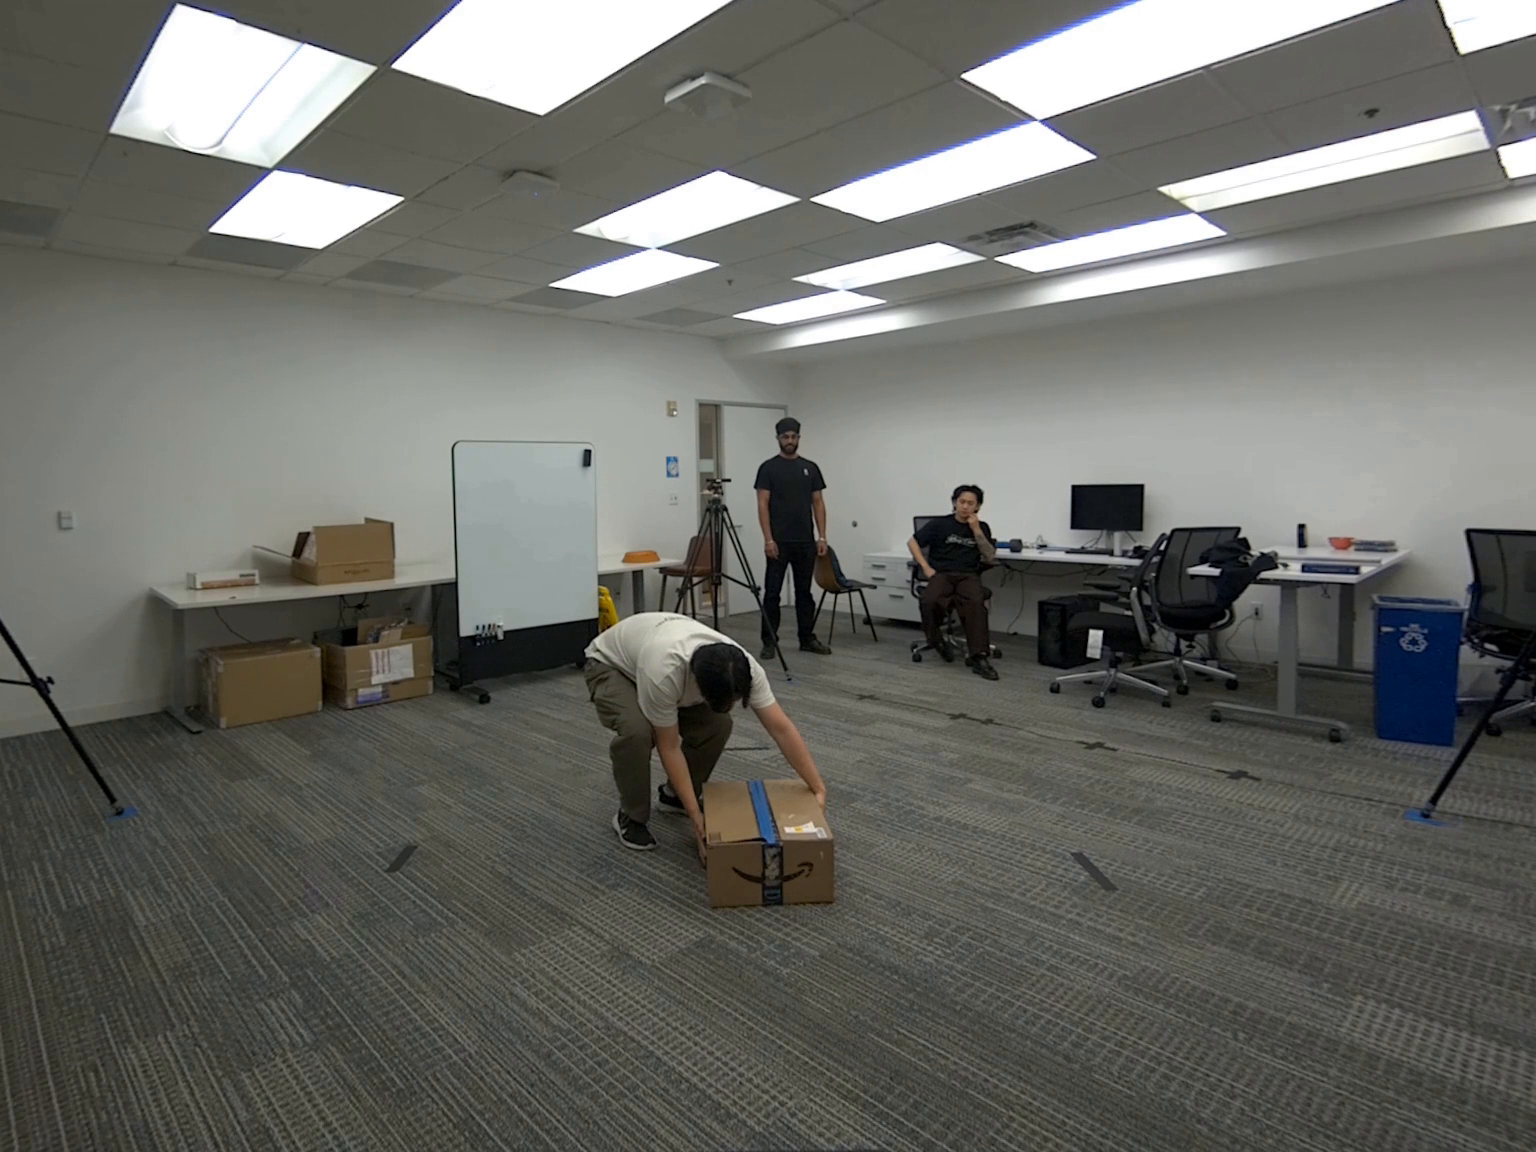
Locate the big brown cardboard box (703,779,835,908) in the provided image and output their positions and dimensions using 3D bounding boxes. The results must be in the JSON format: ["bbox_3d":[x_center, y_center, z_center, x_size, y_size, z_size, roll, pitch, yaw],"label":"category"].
[{"bbox_3d":[-0.018,0.931,3.055,0.416,0.232,0.593,-2,5,-5],"label":"big brown cardboard box"}]
